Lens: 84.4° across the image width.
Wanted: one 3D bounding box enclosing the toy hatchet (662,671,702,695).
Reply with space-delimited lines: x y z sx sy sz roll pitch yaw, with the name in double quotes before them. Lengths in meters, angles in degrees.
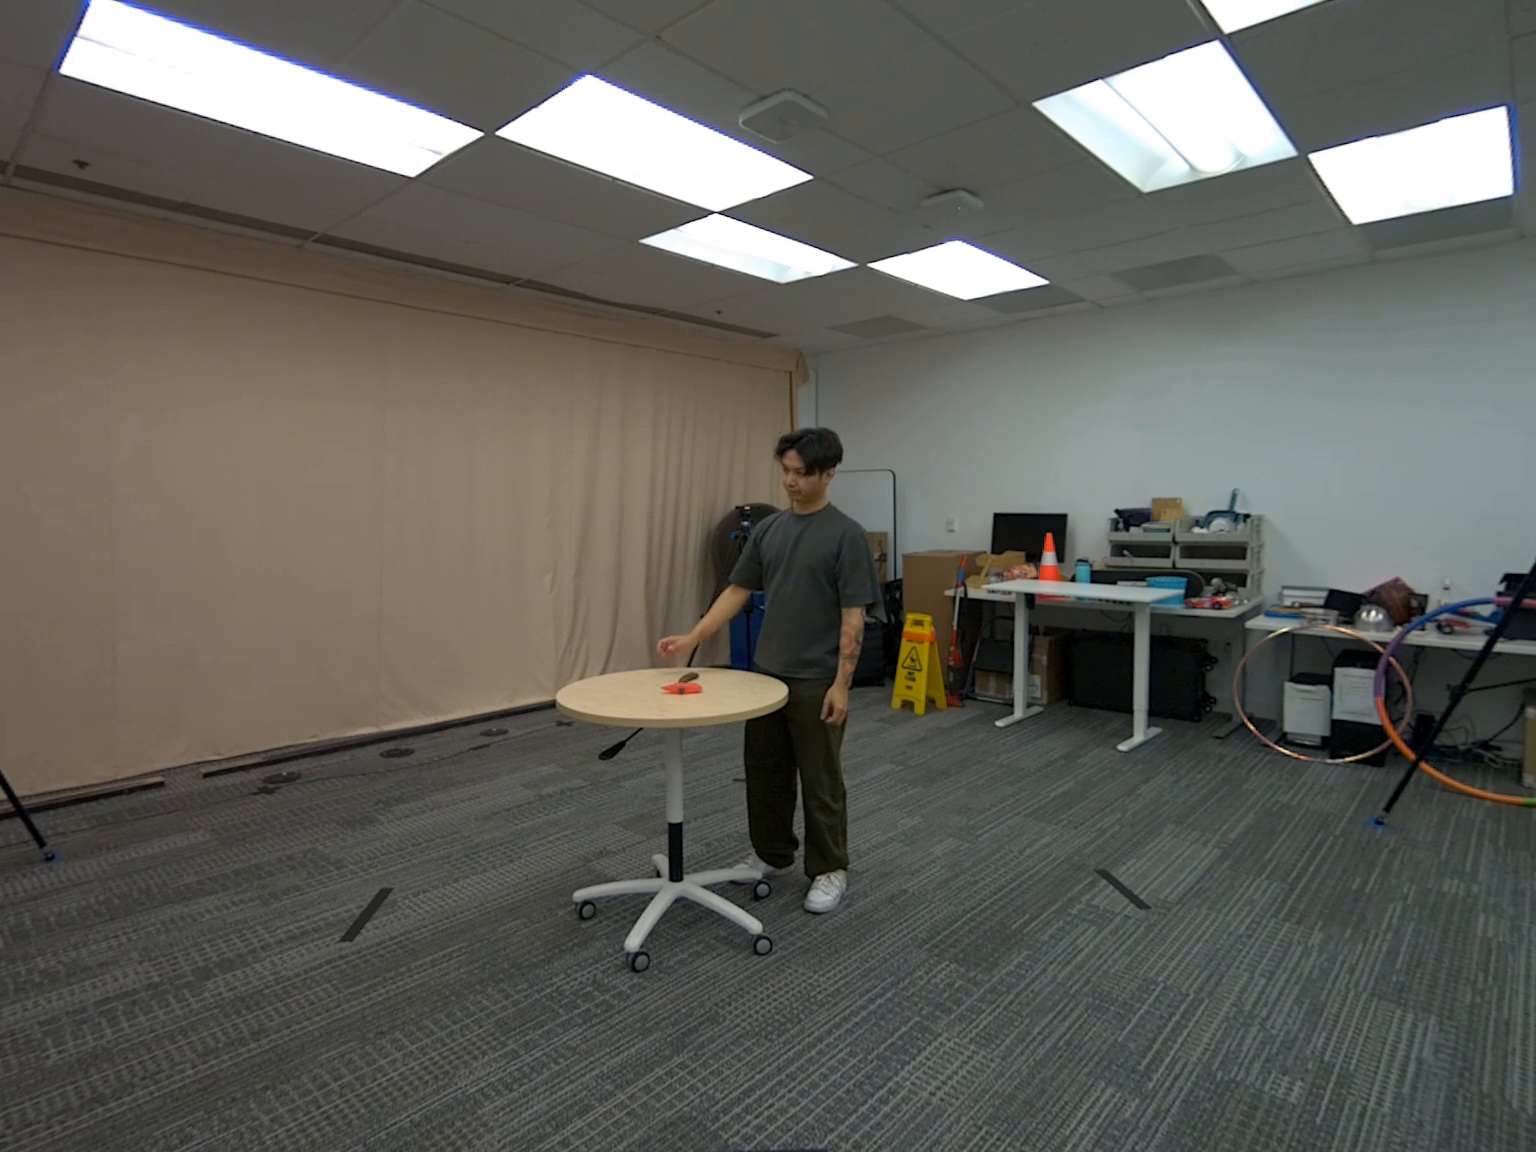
"toy hatchet" -0.254 0.361 2.856 0.133 0.029 0.266 -1 4 15
